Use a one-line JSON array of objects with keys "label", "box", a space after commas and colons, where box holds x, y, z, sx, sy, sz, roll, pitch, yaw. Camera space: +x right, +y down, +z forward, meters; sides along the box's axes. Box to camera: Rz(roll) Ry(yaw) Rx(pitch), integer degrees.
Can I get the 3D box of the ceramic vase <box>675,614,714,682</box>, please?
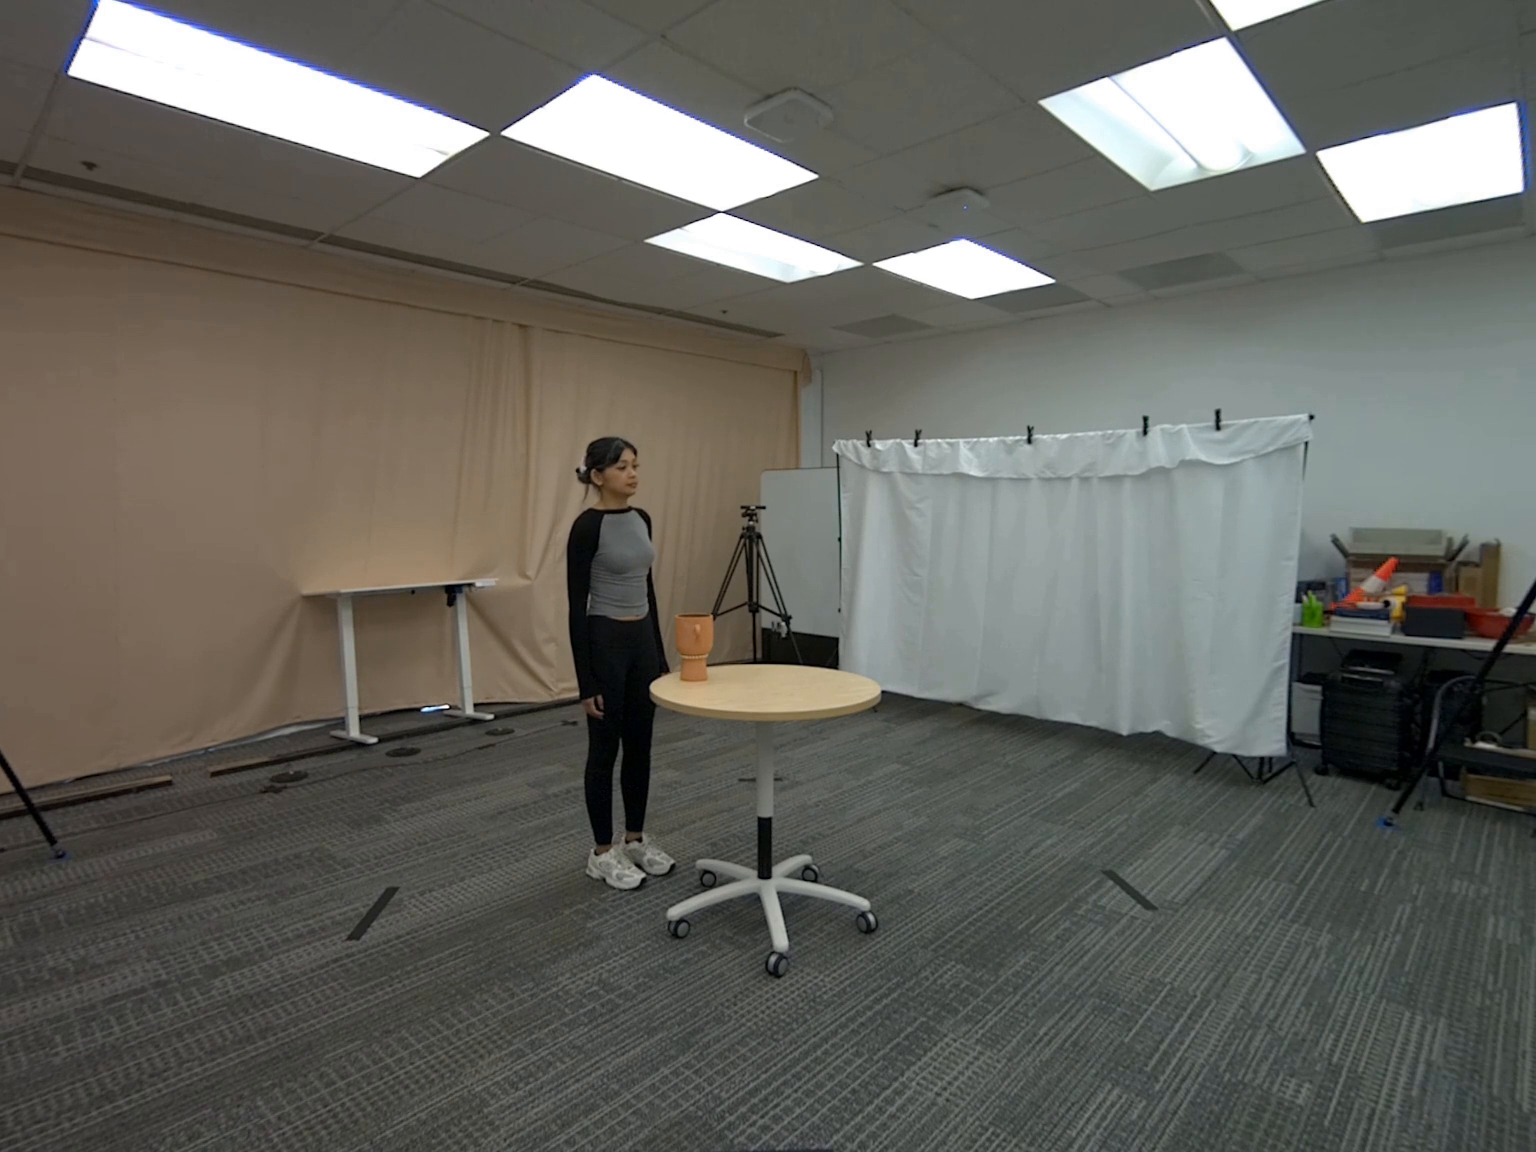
[{"label": "ceramic vase", "box": [-0.254, 0.249, 2.912, 0.138, 0.219, 0.155, 2, 5, 27]}]
